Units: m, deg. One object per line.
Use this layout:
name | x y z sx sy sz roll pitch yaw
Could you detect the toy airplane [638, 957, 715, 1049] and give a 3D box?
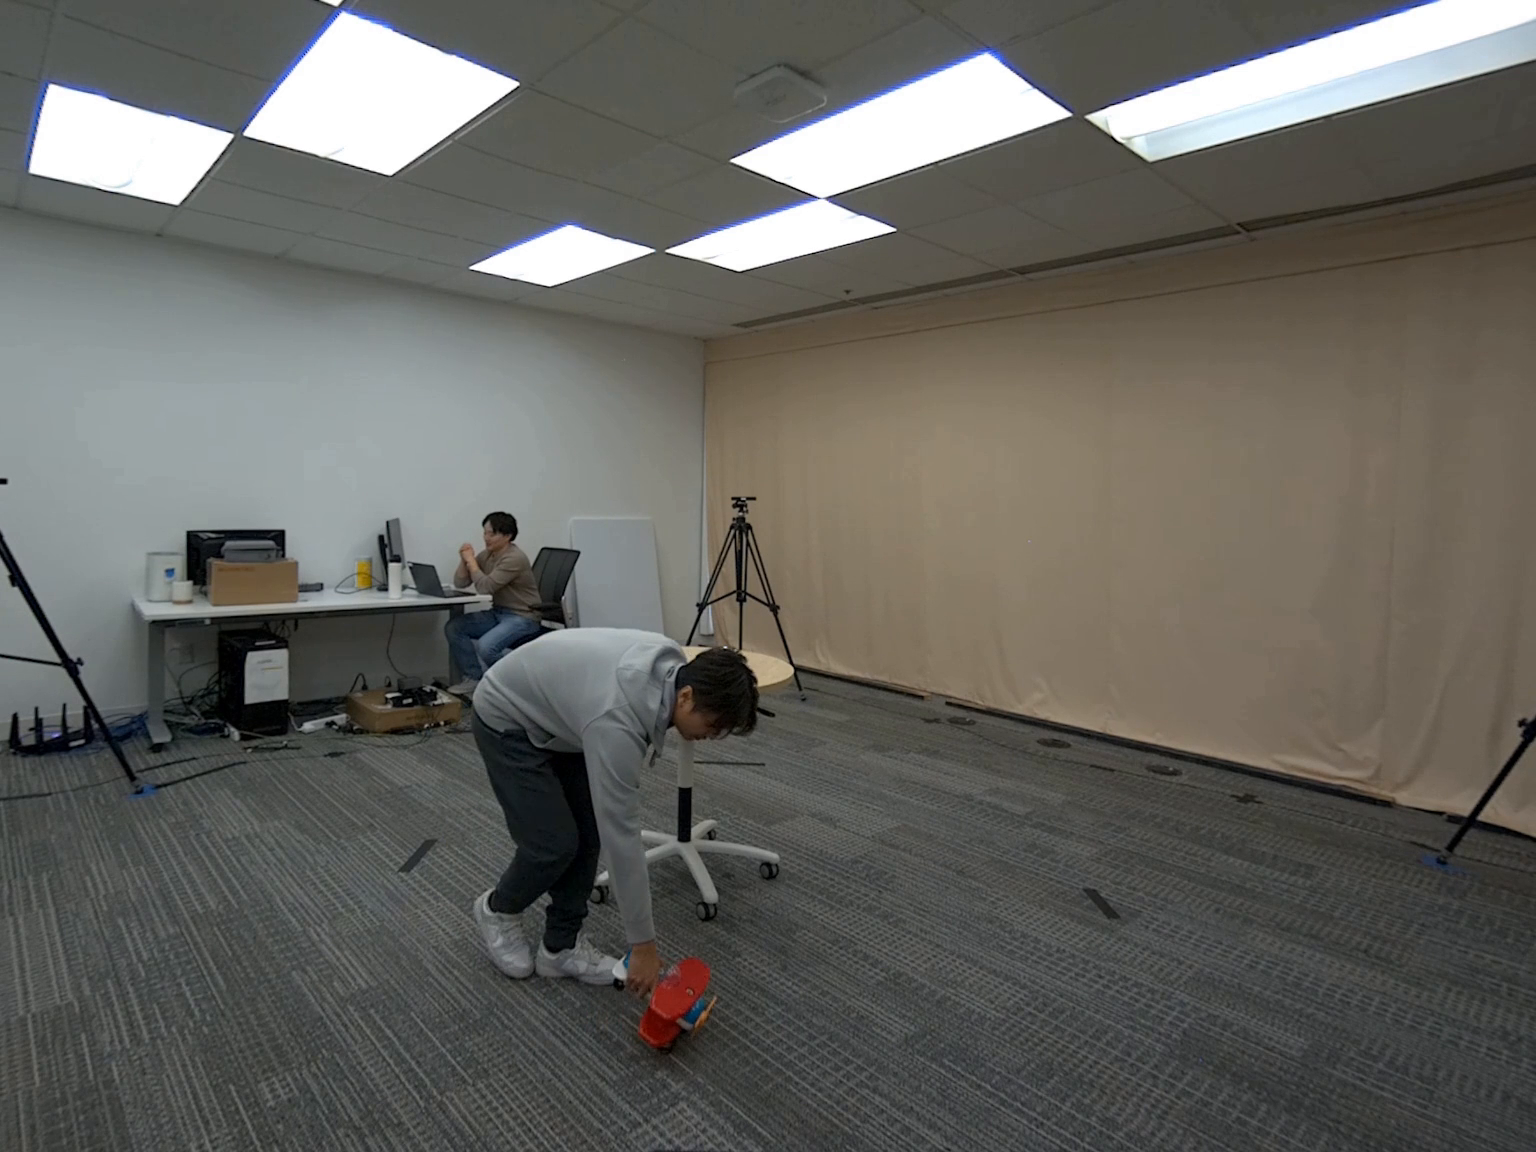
toy airplane | -0.287 1.082 2.141 0.255 0.156 0.255 35 15 -15
